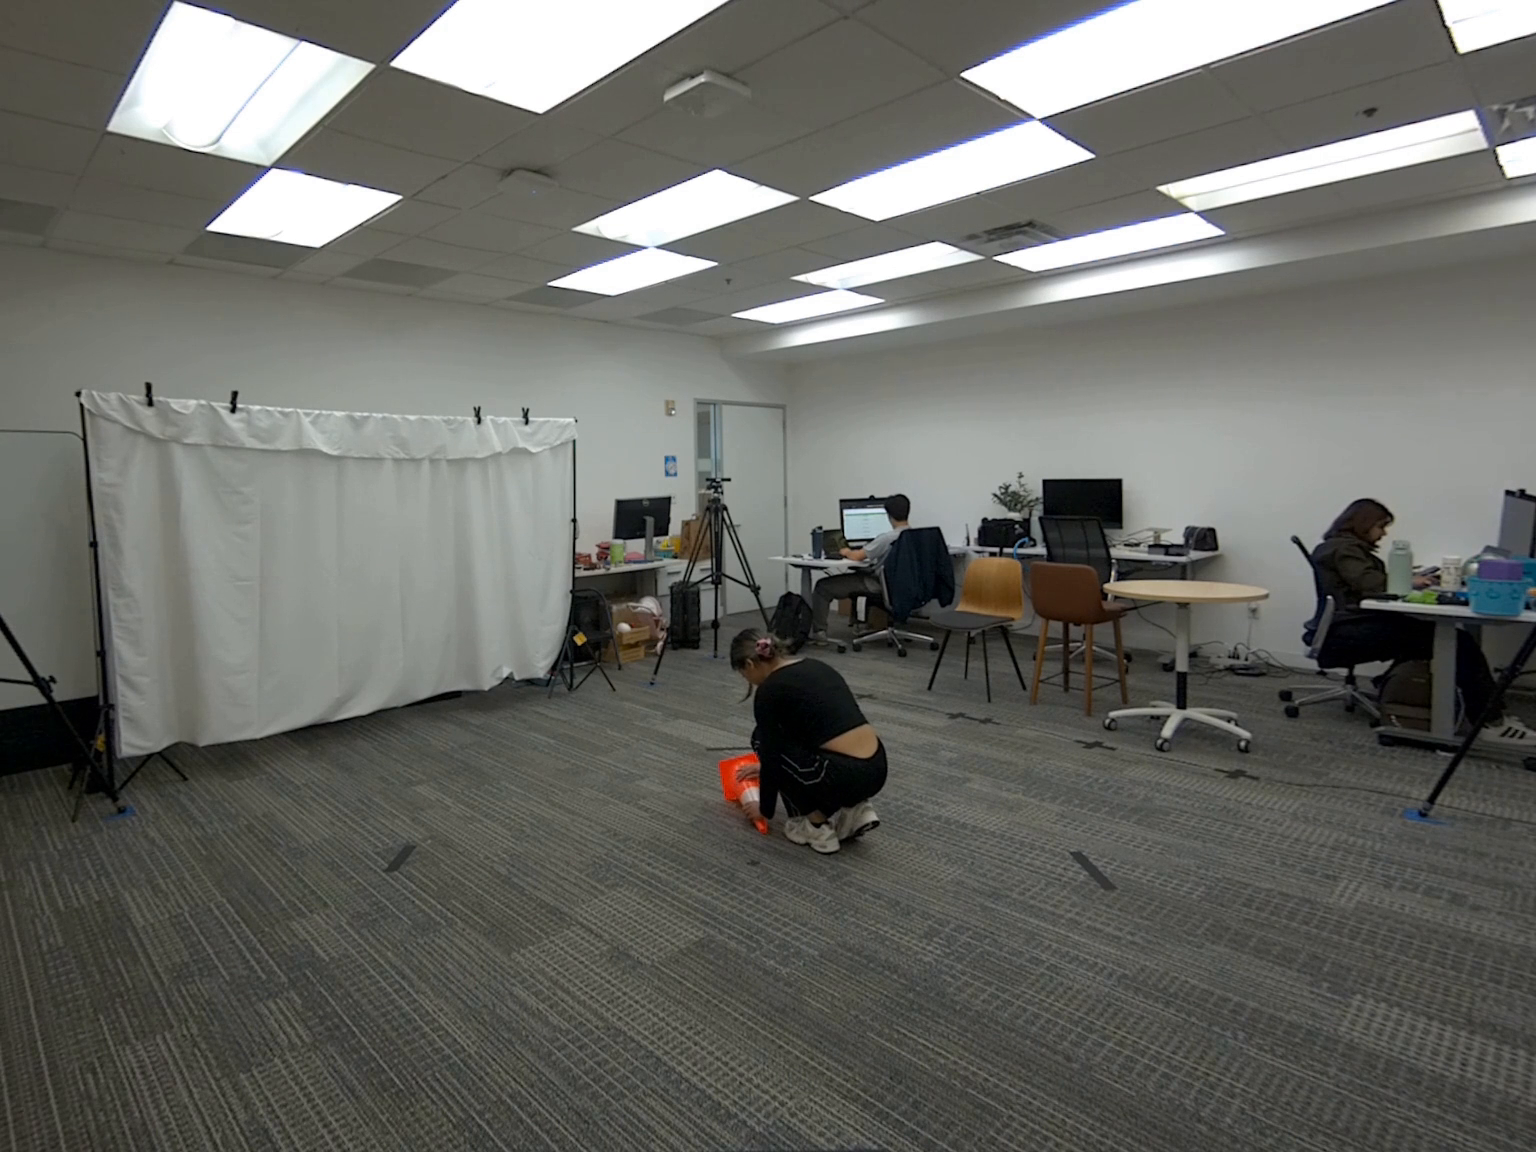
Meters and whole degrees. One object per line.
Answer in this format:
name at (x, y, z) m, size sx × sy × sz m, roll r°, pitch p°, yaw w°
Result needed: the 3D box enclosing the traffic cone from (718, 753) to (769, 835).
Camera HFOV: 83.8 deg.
traffic cone at (-0.066, 0.929, 3.529) m, size 0.204 × 0.199 × 0.393 m, roll -15°, pitch 20°, yaw -5°
